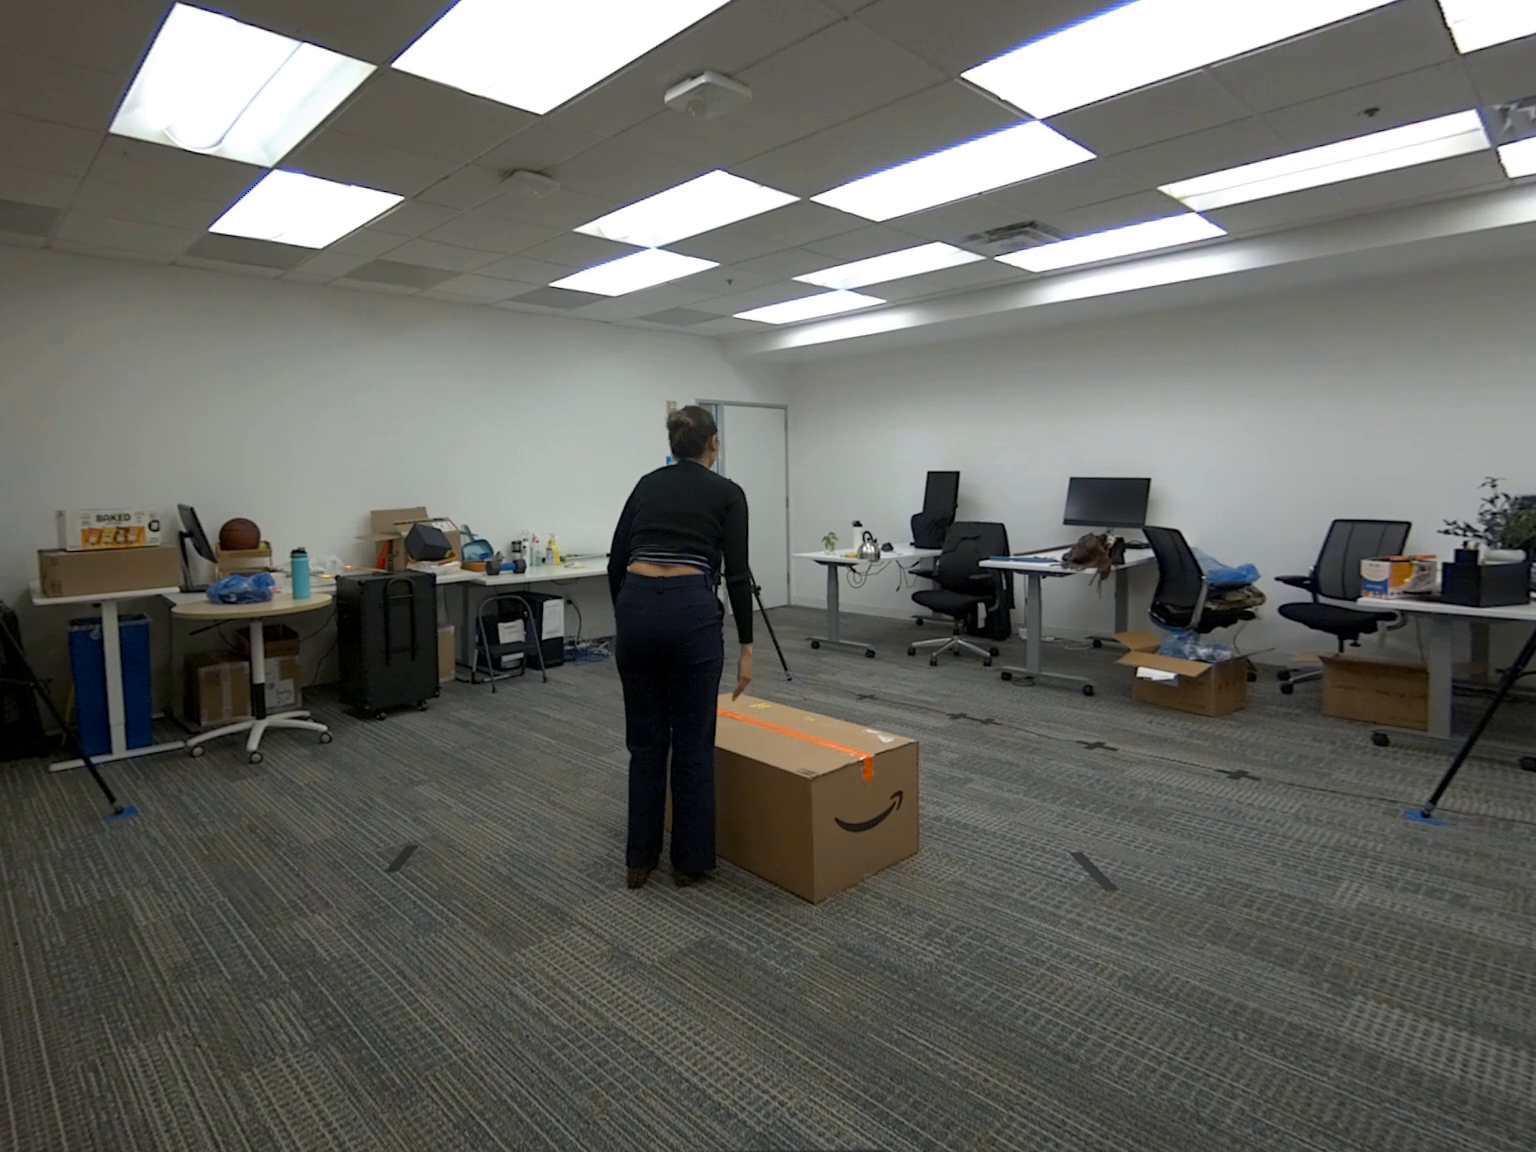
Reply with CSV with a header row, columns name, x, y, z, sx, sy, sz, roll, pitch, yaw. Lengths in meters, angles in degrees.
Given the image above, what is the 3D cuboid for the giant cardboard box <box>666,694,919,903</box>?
name,x,y,z,sx,sy,sz,roll,pitch,yaw
giant cardboard box,0.003,0.802,3.357,0.562,0.424,1.058,-6,8,-42
